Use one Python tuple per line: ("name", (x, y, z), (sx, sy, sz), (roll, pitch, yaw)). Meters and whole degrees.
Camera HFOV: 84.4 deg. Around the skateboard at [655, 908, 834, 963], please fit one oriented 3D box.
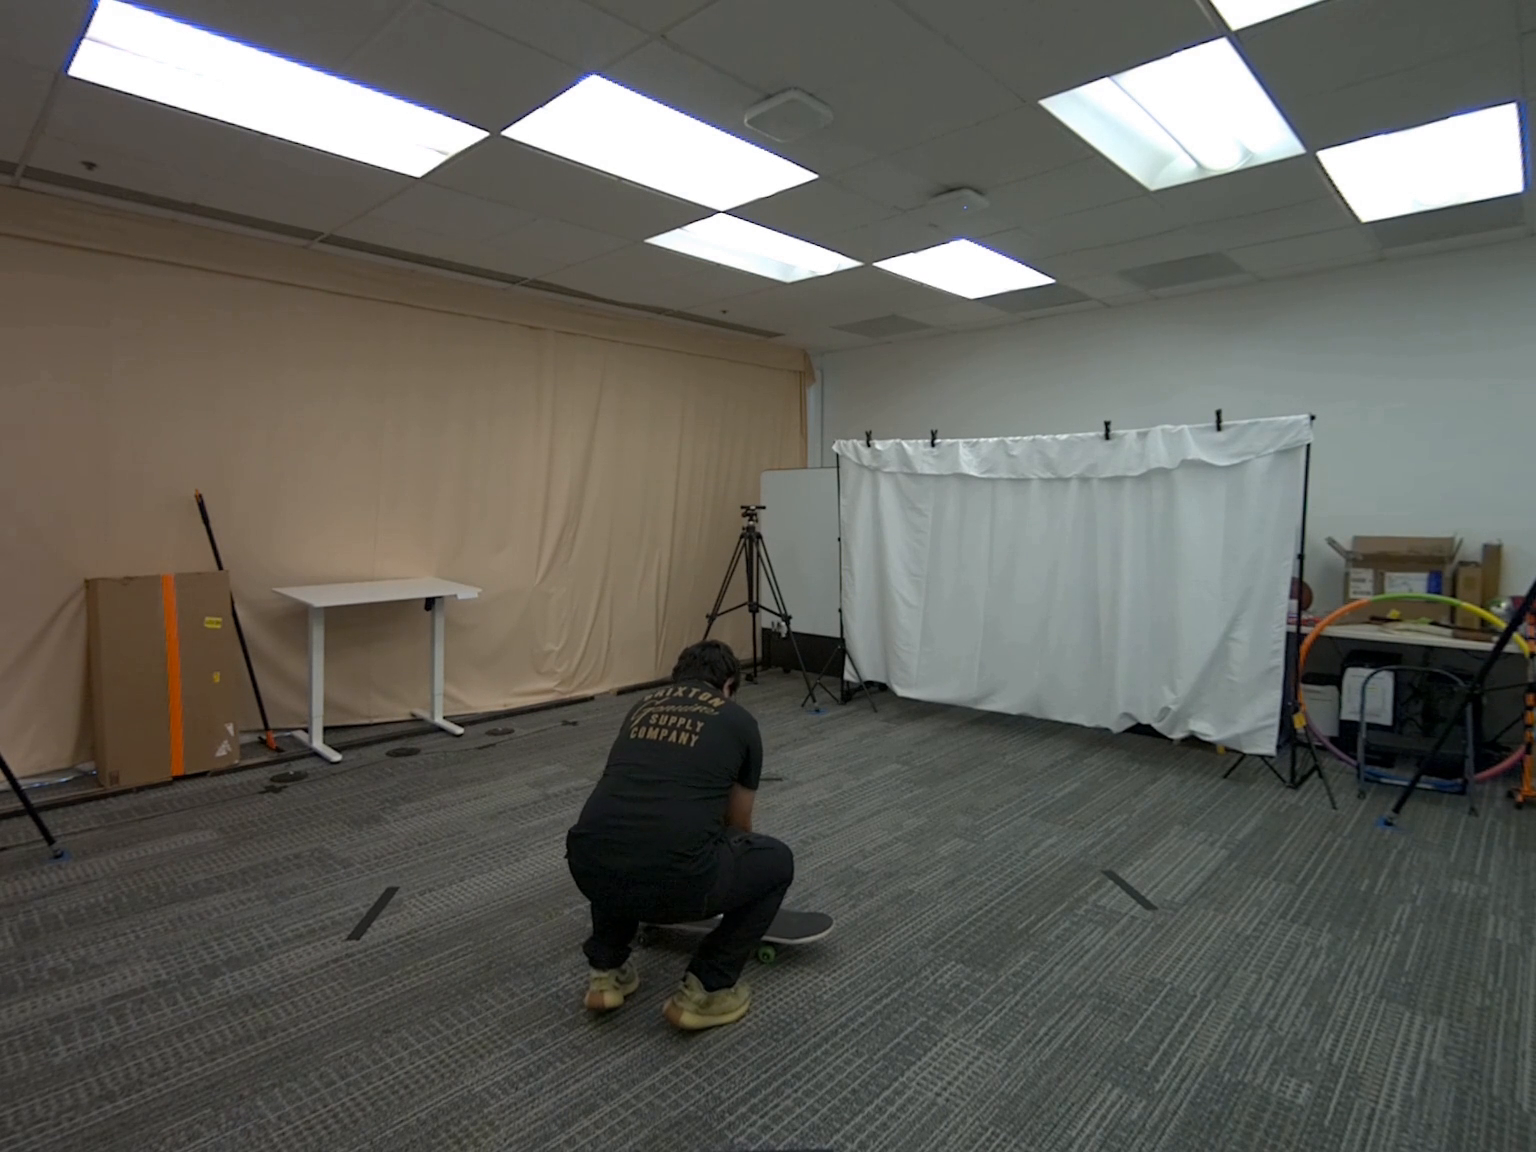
("skateboard", (-0.178, 1.109, 2.696), (0.797, 0.110, 0.191), (0, 5, 14))
